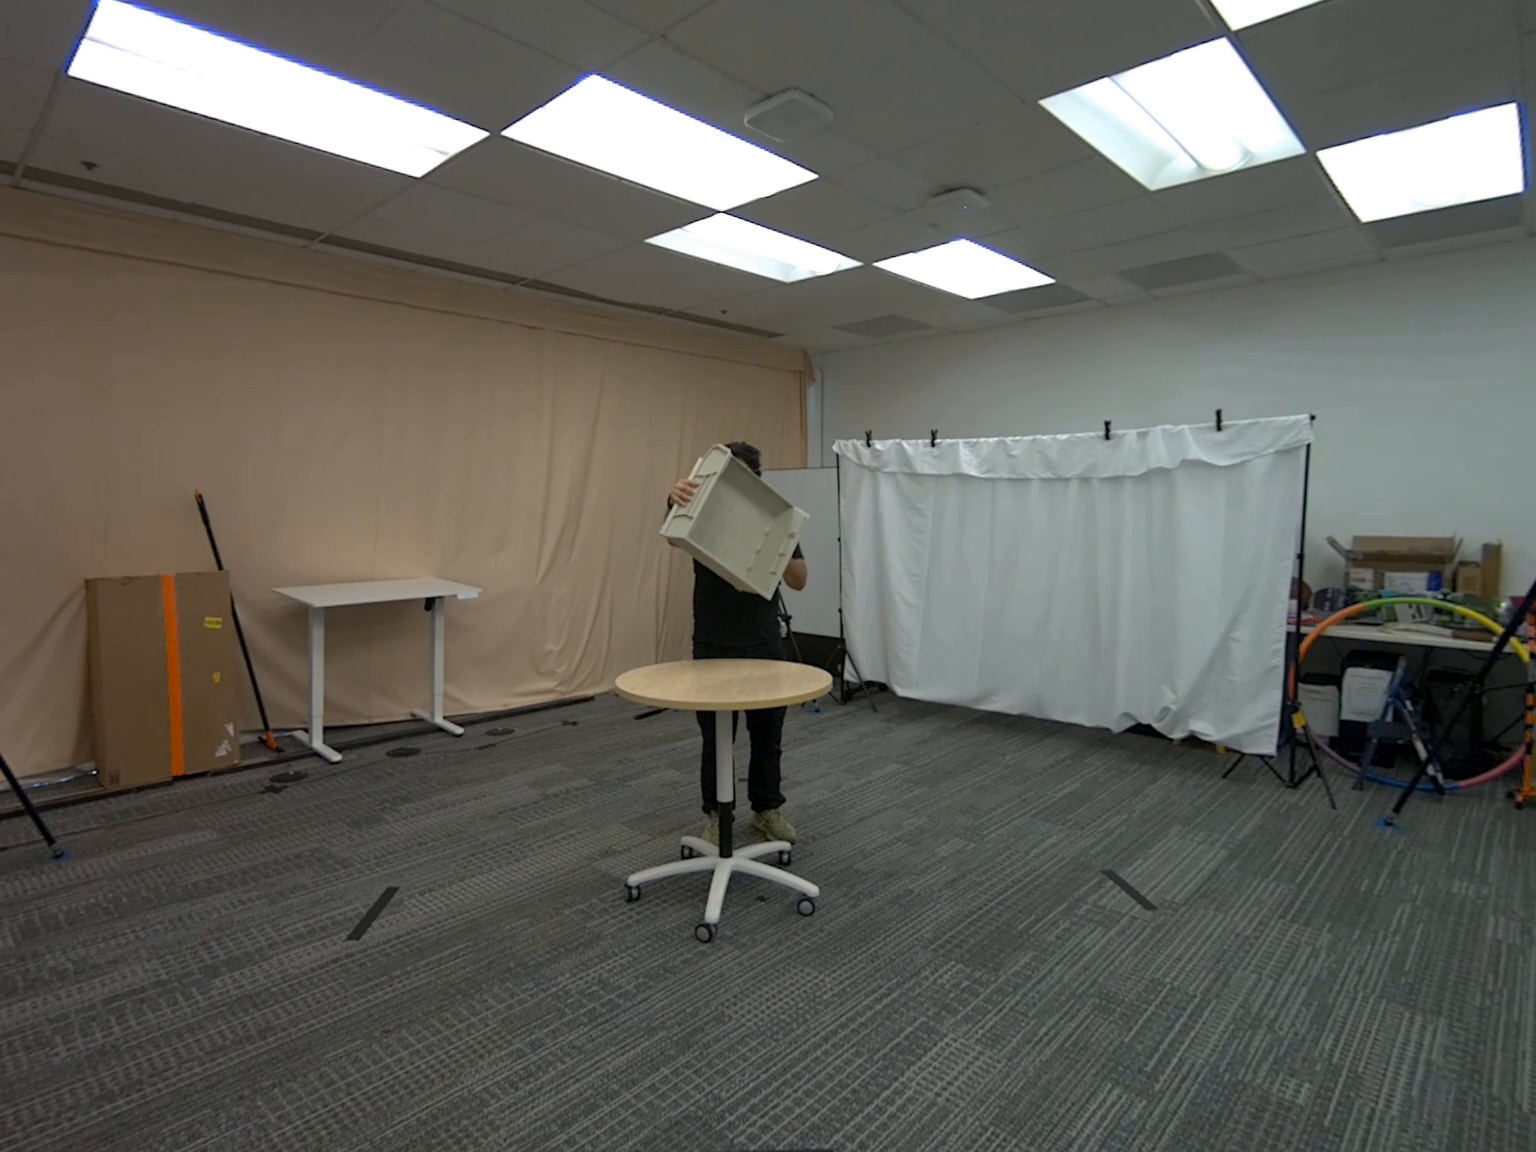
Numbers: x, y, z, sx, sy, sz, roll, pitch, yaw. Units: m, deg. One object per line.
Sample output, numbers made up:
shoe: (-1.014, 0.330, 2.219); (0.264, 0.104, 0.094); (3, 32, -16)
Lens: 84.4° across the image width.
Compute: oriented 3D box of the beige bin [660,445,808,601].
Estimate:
beige bin: (-0.100, -0.182, 2.948); (0.408, 0.377, 0.195); (37, -17, -33)
